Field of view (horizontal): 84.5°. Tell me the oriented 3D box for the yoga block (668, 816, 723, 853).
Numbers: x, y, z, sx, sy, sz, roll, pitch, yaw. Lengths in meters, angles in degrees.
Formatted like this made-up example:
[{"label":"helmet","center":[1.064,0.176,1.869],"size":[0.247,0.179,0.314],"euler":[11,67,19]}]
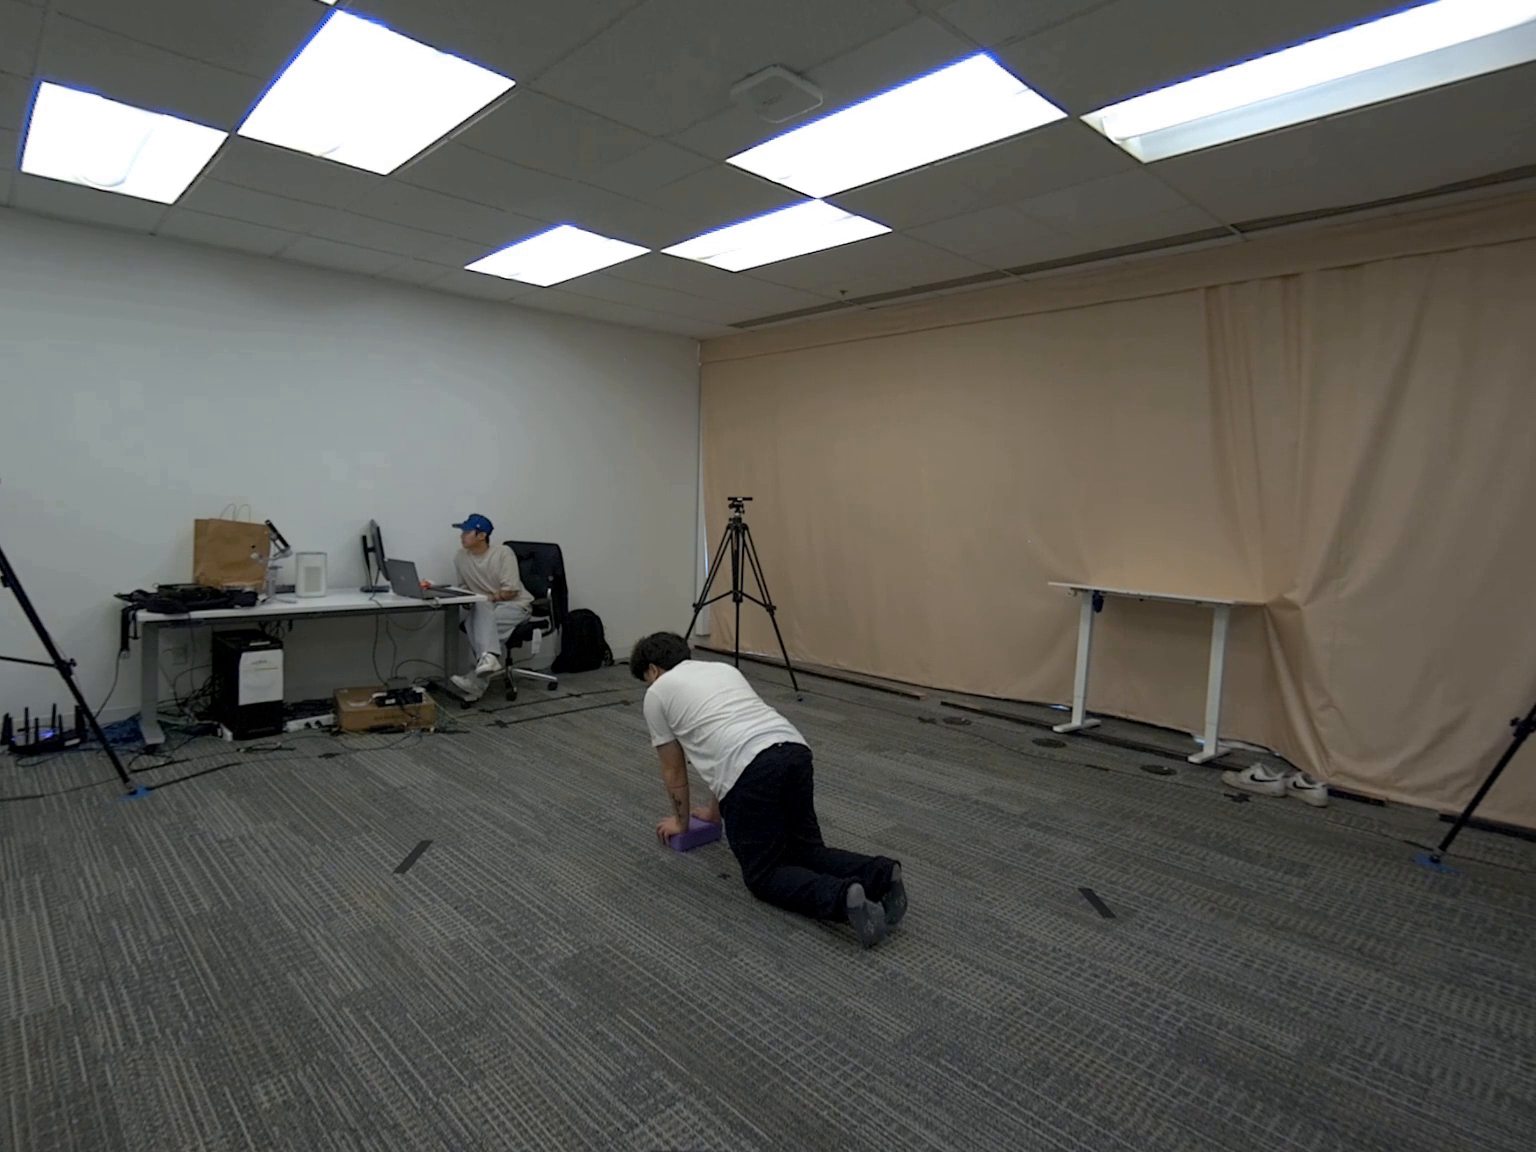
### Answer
[{"label":"yoga block","center":[-0.322,1.041,3.423],"size":[0.224,0.076,0.152],"euler":[-4,4,-45]}]
